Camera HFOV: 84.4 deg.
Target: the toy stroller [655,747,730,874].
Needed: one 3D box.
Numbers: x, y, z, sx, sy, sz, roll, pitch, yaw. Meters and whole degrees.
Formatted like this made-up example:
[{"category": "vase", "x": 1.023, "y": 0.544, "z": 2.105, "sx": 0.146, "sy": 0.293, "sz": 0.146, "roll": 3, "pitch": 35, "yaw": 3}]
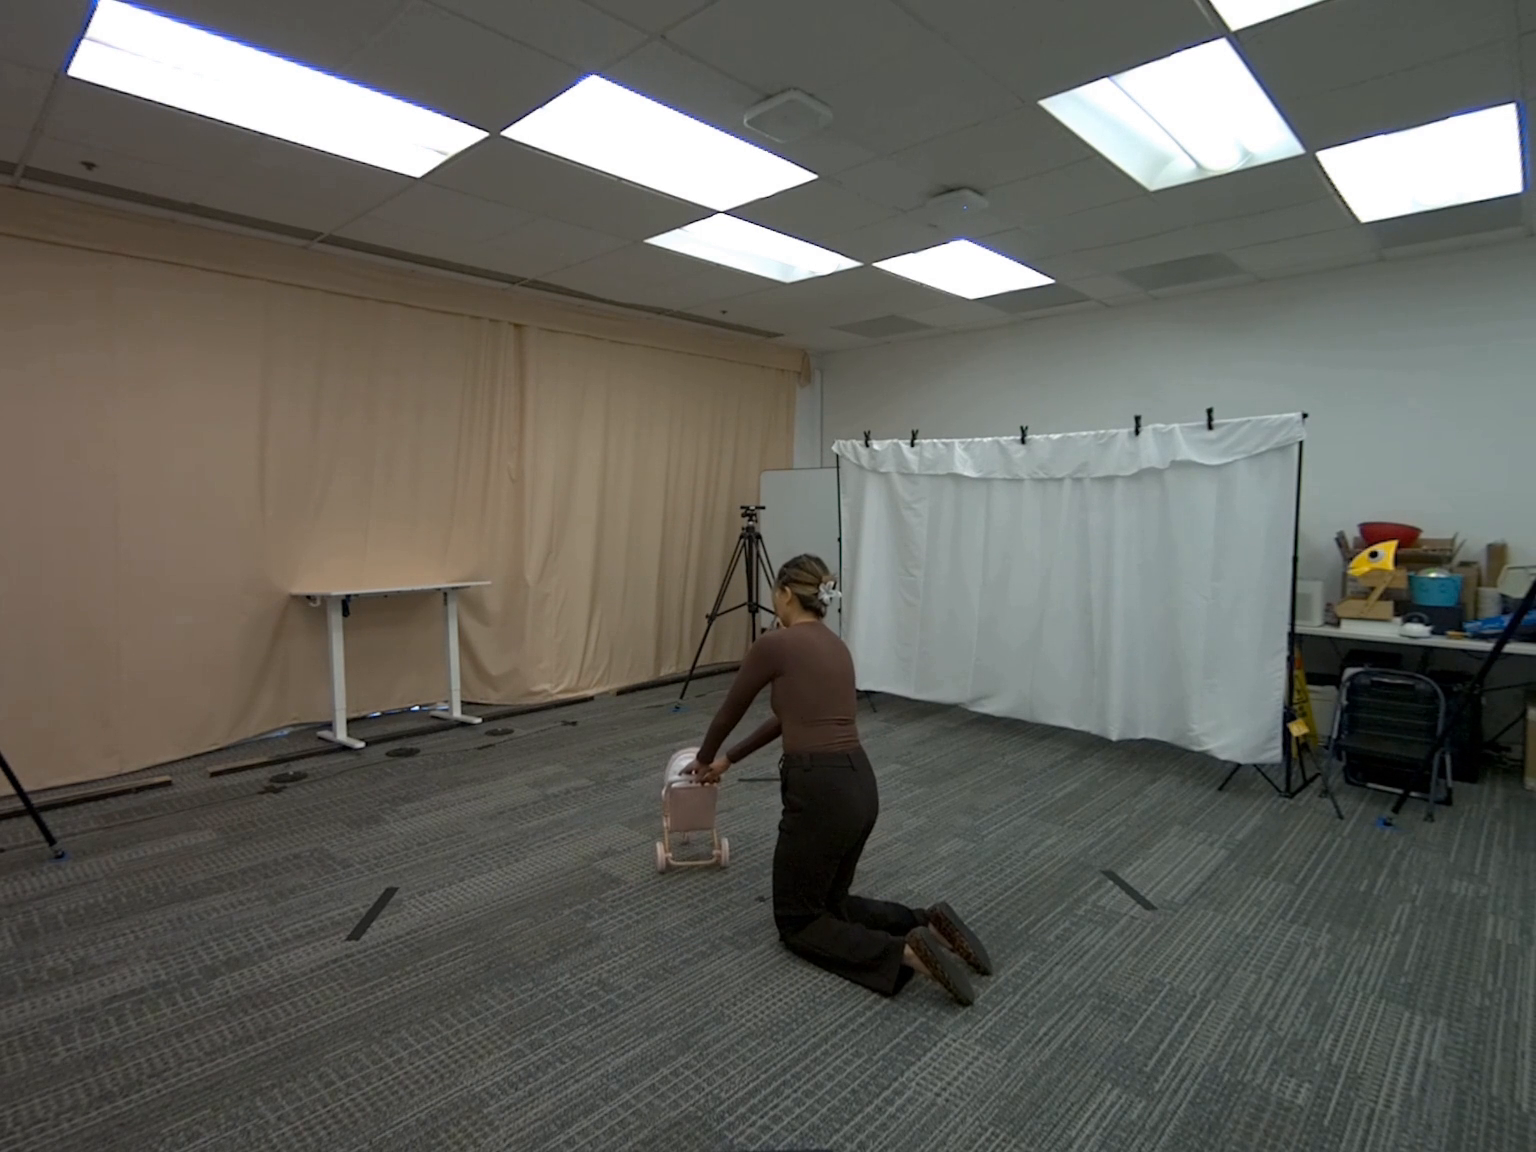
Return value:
[{"category": "toy stroller", "x": -0.295, "y": 0.894, "z": 3.277, "sx": 0.280, "sy": 0.529, "sz": 0.347, "roll": 0, "pitch": 21, "yaw": -6}]
